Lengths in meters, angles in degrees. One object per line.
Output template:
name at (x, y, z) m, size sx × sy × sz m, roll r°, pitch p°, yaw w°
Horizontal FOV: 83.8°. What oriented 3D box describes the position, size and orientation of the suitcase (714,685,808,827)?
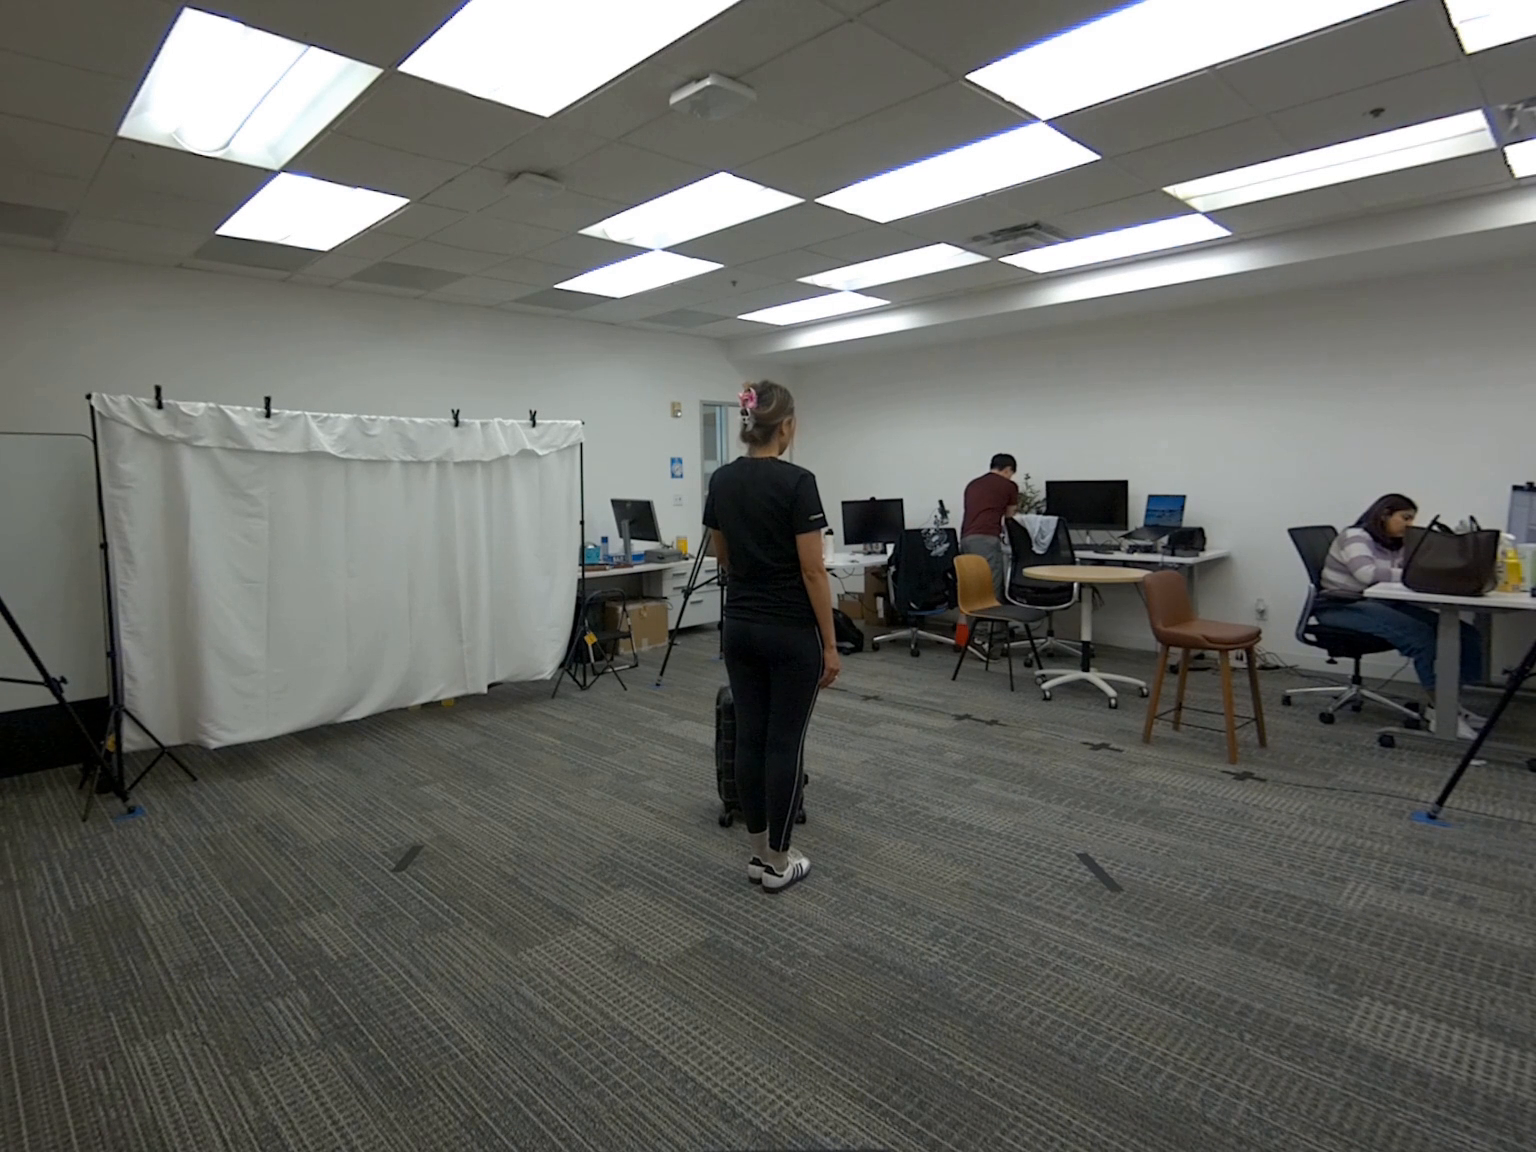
suitcase at (-0.035, 0.520, 3.569) m, size 0.383 × 0.978 × 0.258 m, roll -1°, pitch 0°, yaw -4°
